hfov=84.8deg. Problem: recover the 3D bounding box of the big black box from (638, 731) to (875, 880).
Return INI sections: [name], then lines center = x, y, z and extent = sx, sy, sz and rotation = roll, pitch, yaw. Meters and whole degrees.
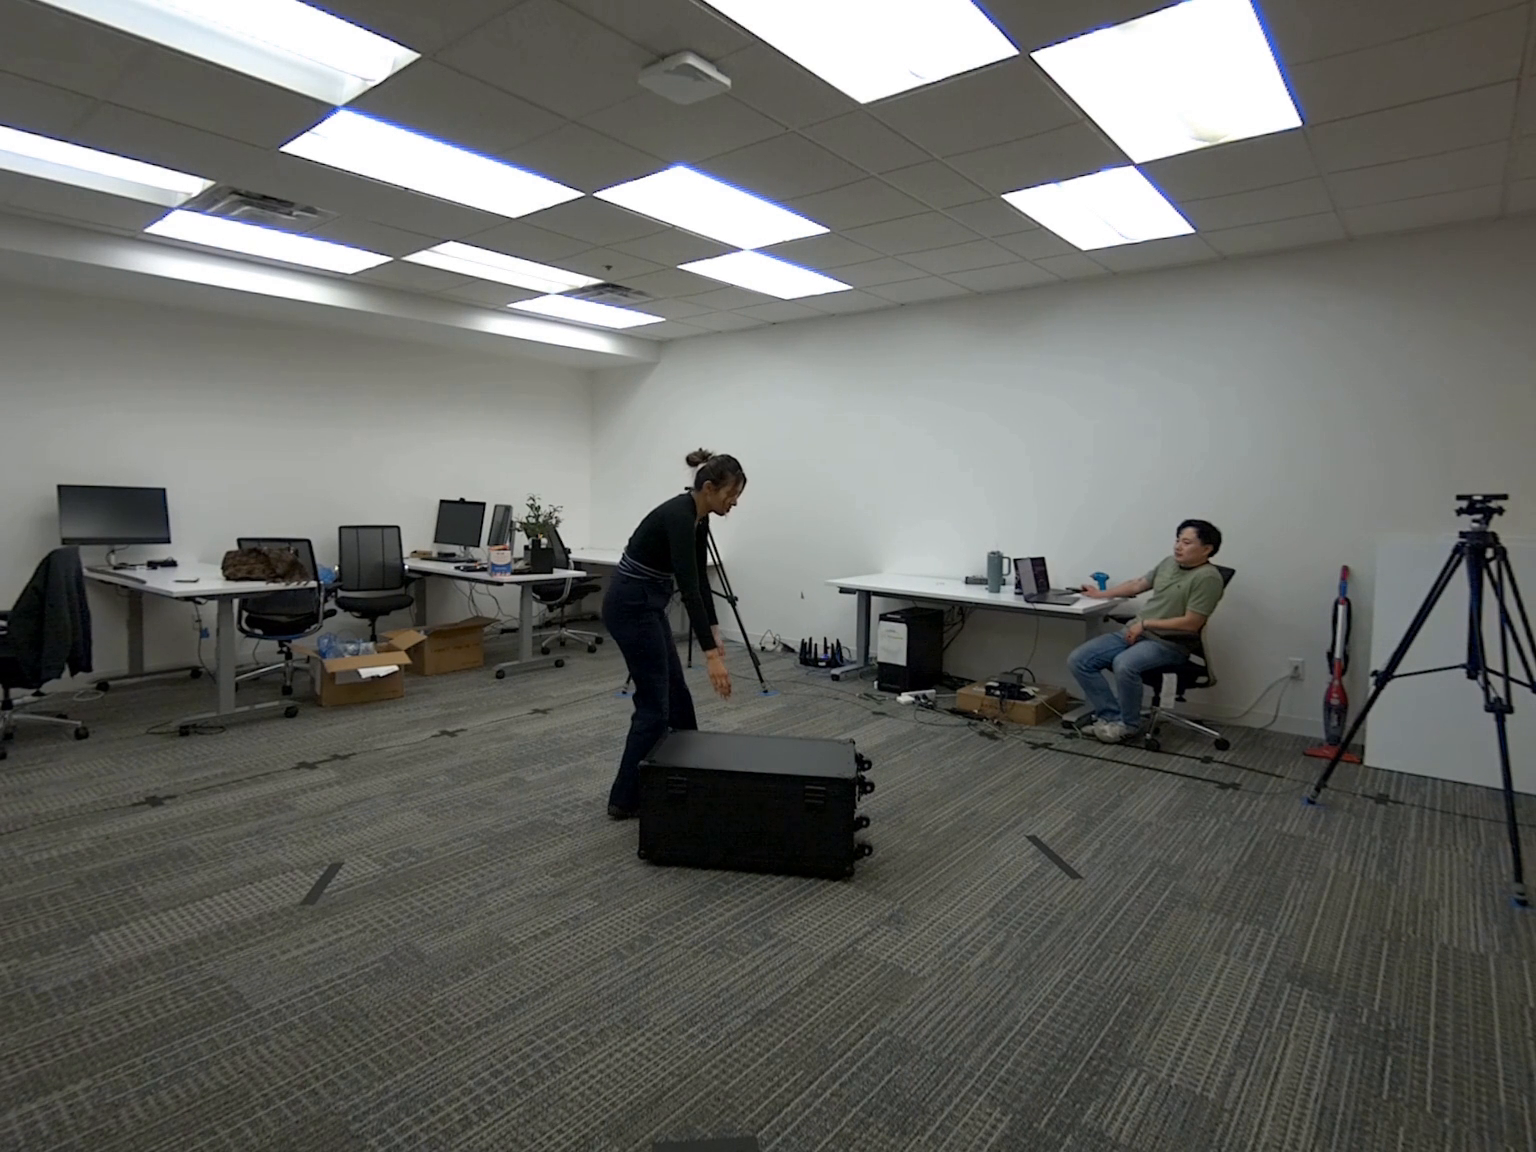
[big black box]
center = -0.040, 0.857, 3.274
extent = 0.869, 0.395, 0.519
rotation = 1, 4, 7
